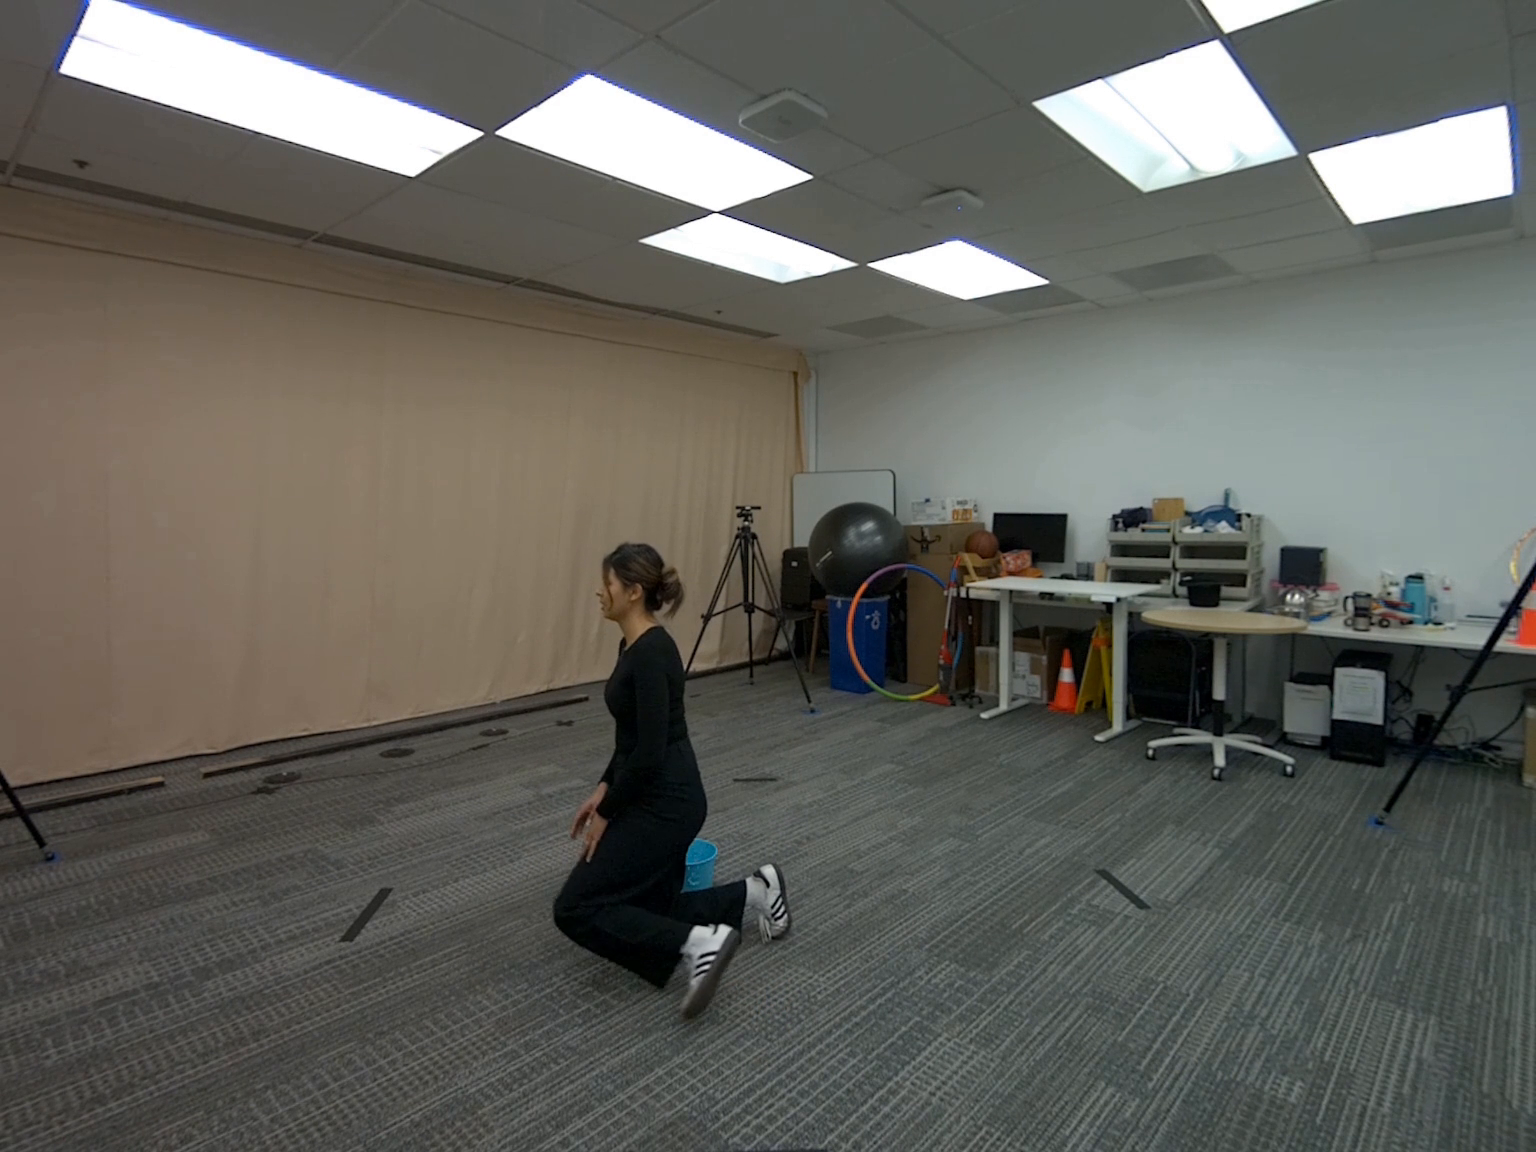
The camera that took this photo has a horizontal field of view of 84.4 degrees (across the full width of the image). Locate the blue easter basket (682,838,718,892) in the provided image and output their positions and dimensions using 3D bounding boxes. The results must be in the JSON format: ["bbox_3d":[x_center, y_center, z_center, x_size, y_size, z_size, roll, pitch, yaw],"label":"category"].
[{"bbox_3d":[-0.287,1.063,3.040,0.243,0.155,0.244,0,4,-2],"label":"blue easter basket"}]
